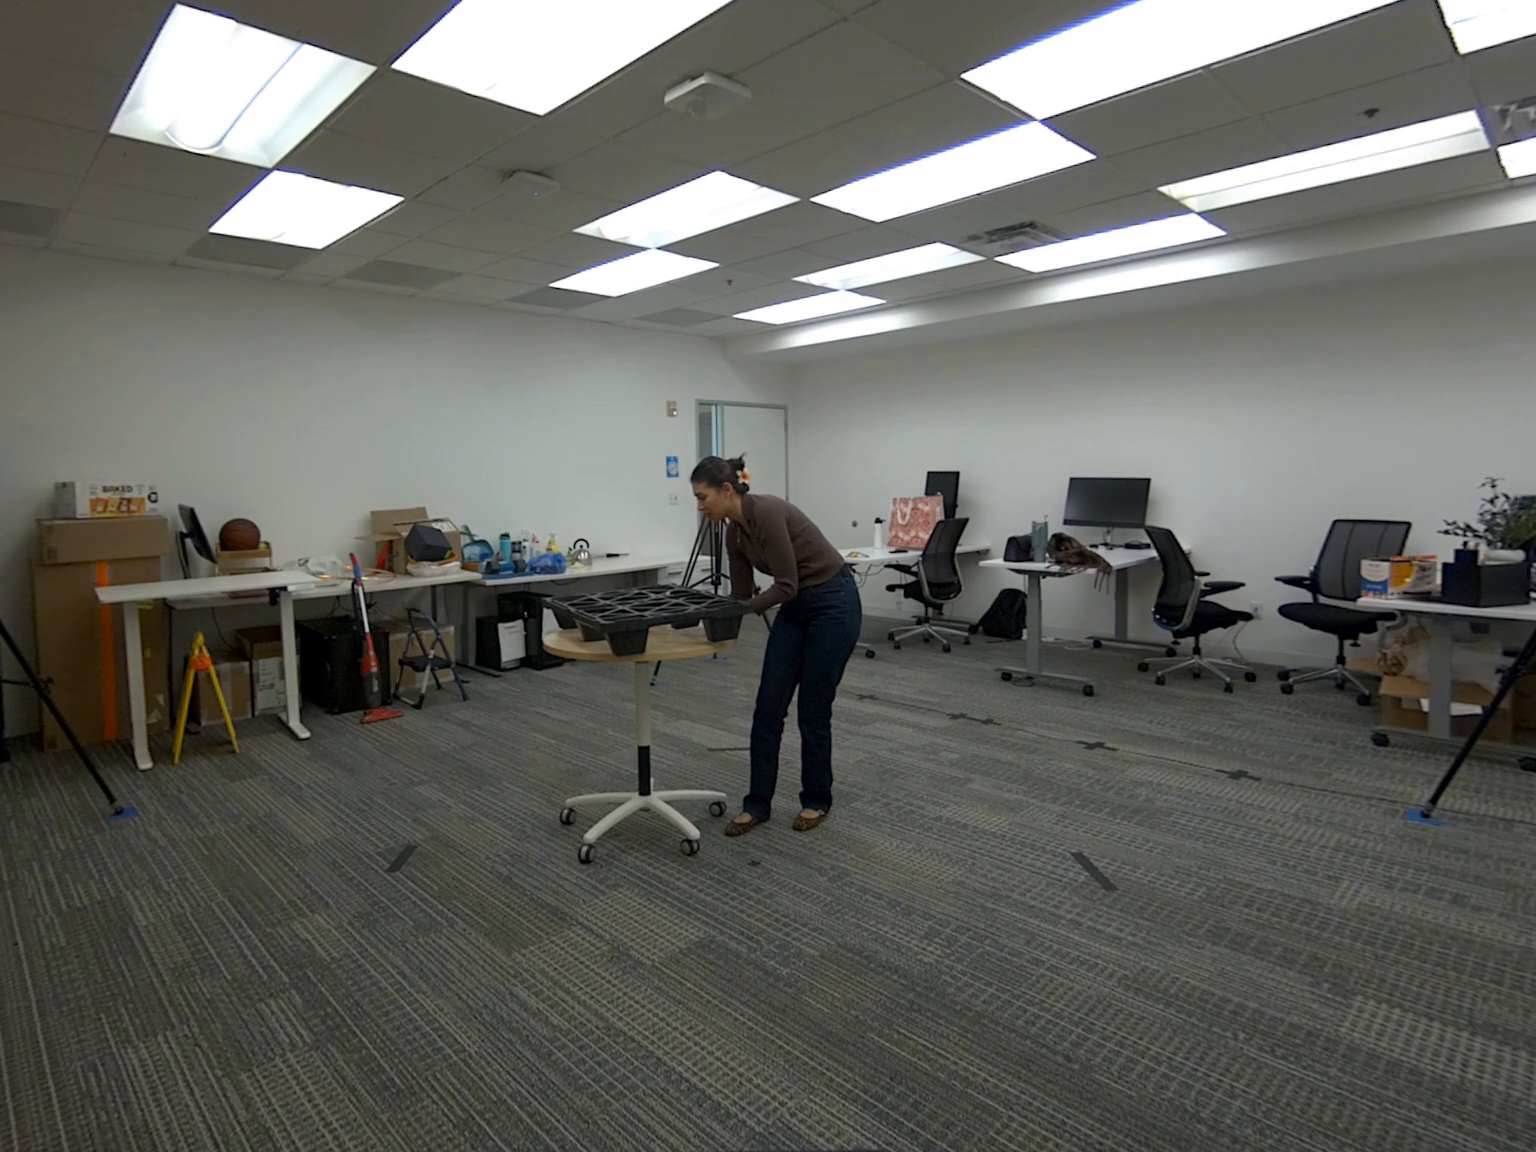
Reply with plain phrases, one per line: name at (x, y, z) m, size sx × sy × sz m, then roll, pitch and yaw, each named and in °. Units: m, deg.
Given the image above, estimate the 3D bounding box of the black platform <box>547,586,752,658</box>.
black platform at (-0.511, 0.164, 3.379) m, size 0.592 × 0.142 × 0.827 m, roll -6°, pitch 7°, yaw -28°
